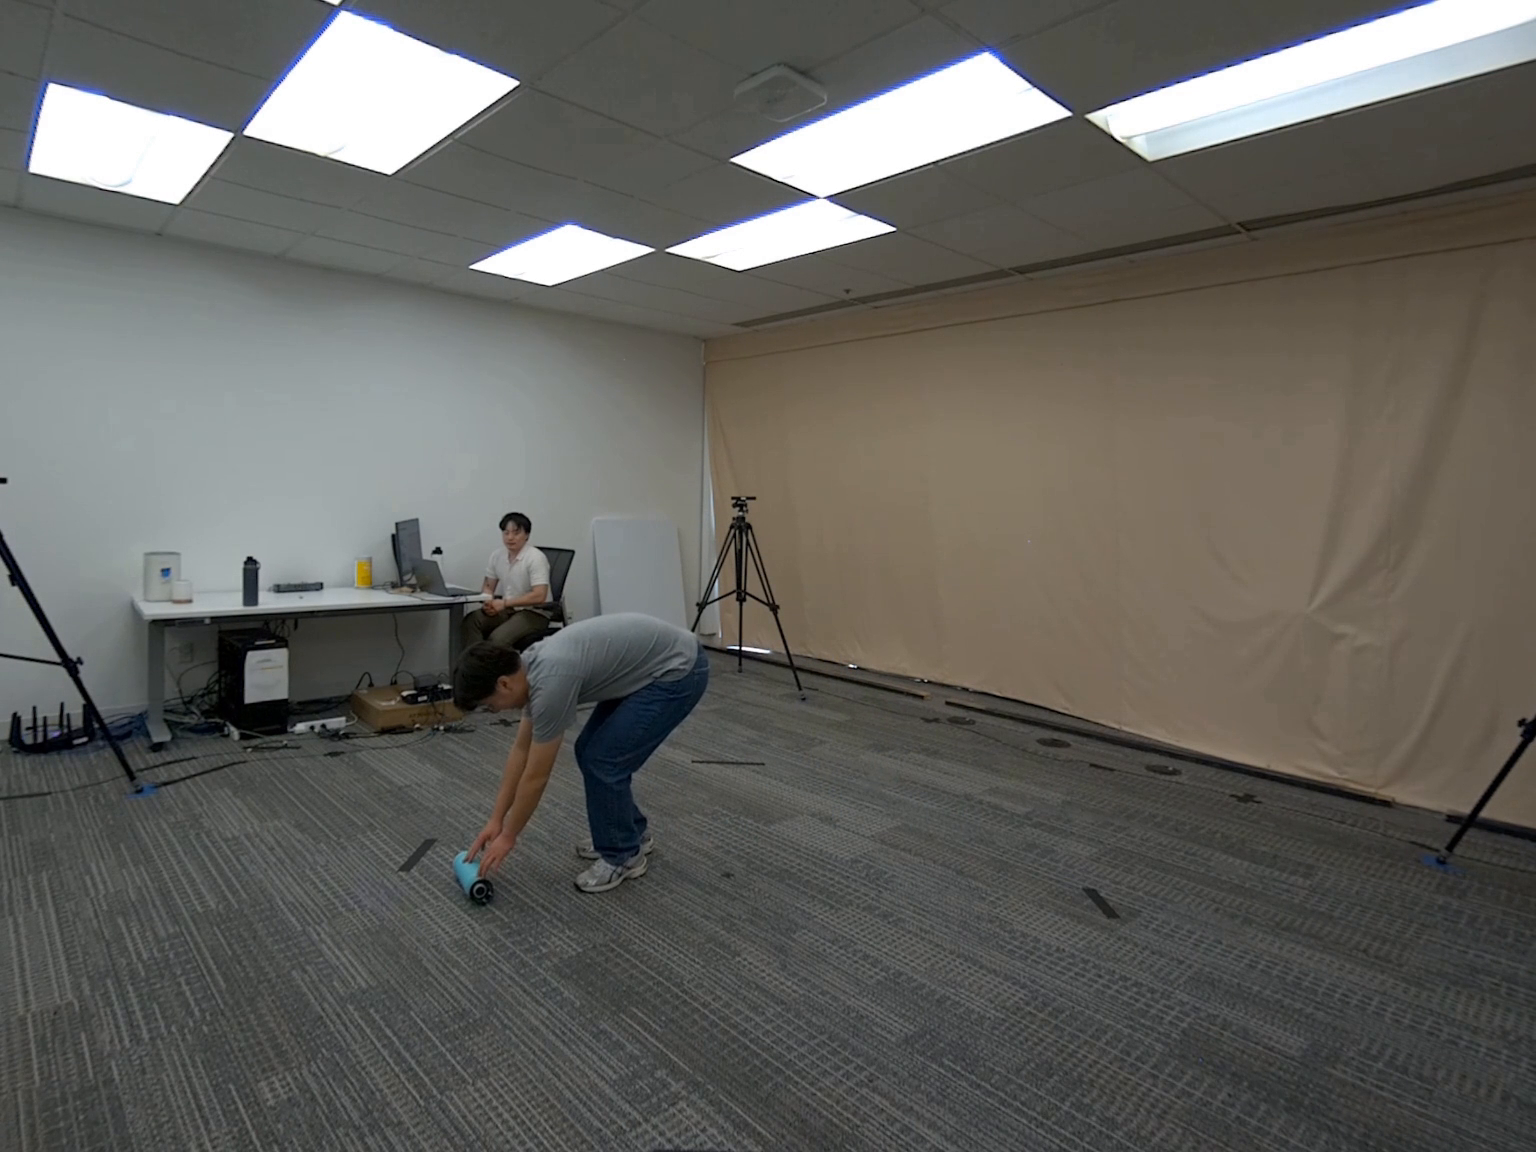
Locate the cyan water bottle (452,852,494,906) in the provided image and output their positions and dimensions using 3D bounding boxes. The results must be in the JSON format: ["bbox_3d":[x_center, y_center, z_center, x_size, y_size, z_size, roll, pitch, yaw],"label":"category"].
[{"bbox_3d":[-1.028,1.053,2.936,0.090,0.092,0.290,-1,5,-30],"label":"cyan water bottle"}]
